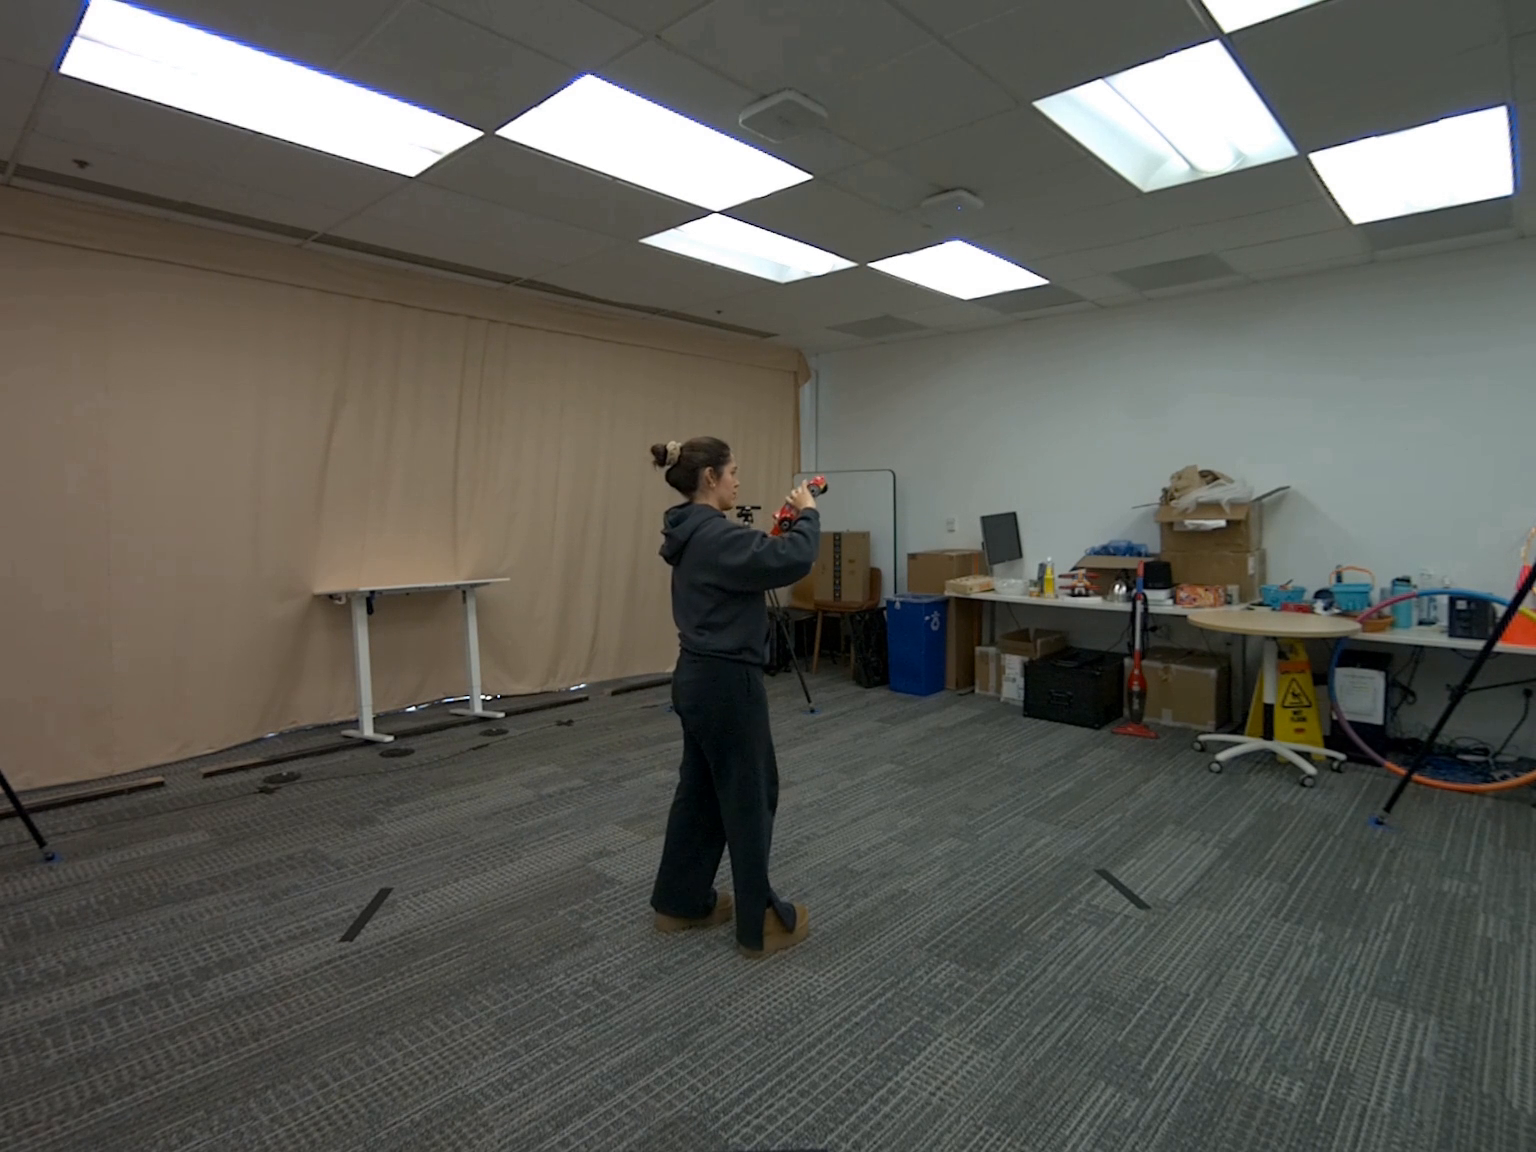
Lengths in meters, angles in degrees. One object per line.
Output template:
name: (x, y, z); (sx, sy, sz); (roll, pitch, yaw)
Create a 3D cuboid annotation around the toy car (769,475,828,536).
toy car: (0.109, -0.222, 2.734); (0.256, 0.084, 0.128); (-40, -6, 19)
